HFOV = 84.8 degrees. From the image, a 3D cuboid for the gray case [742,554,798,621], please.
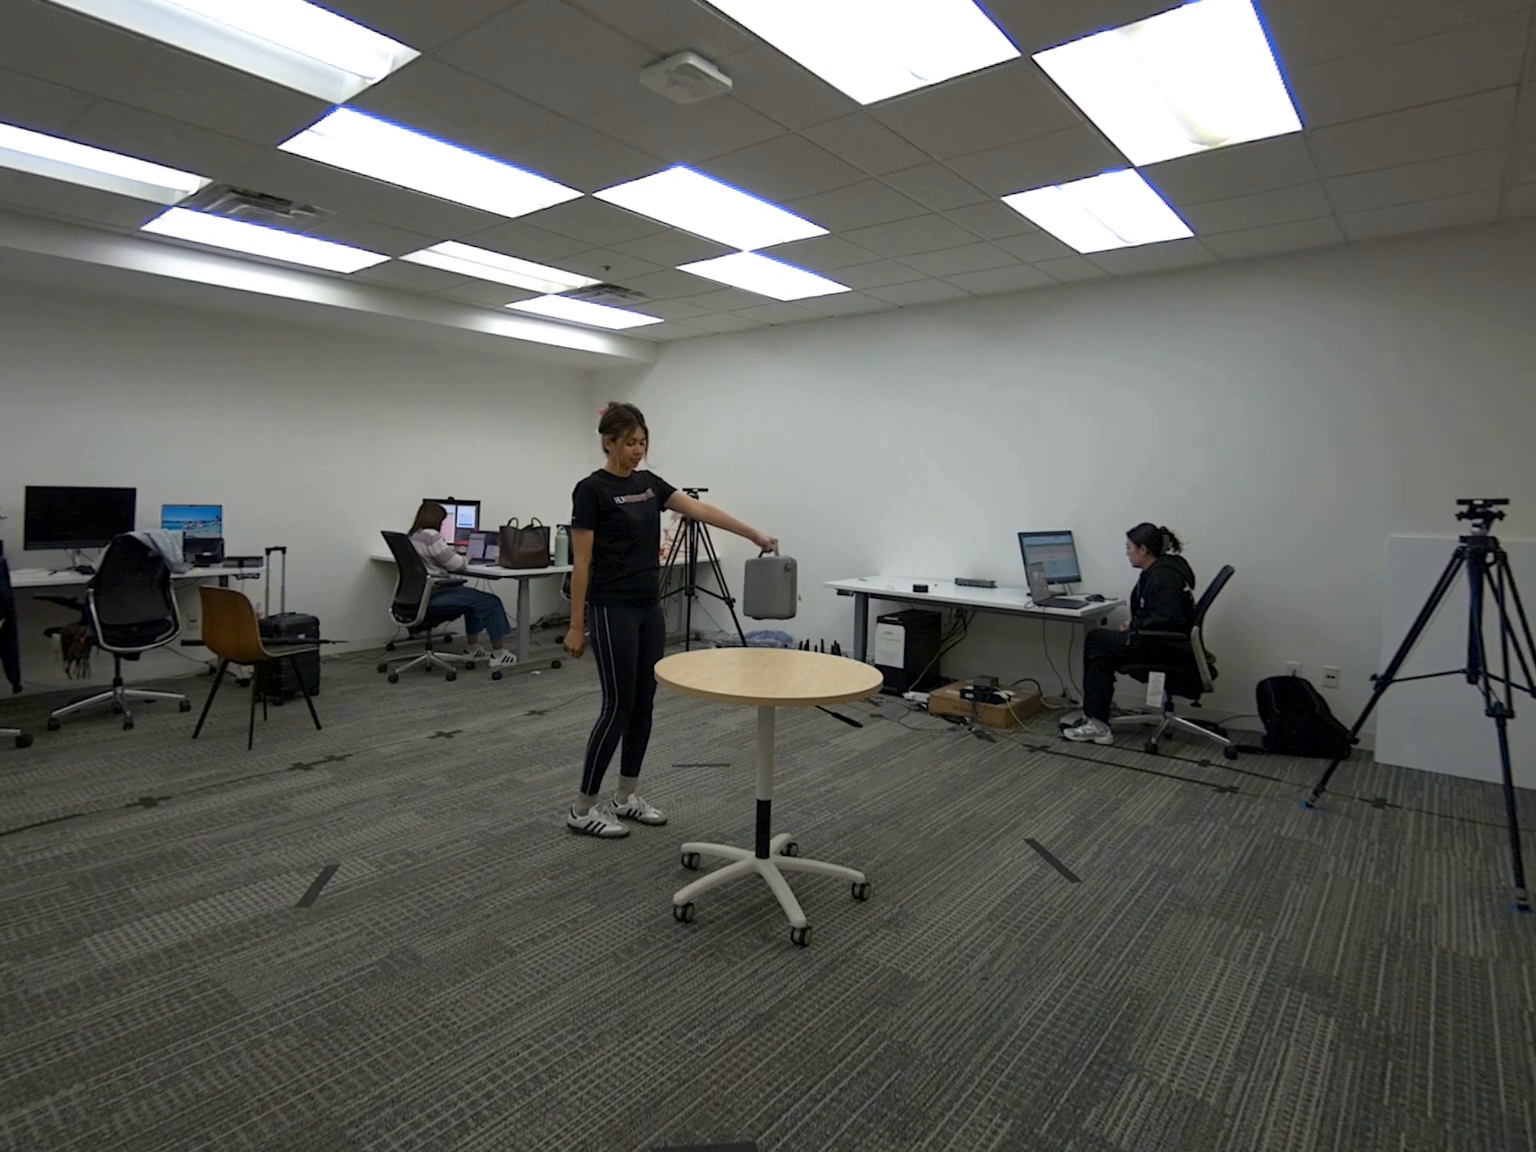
[{"bbox_3d":[0.001,0.042,3.504,0.101,0.262,0.264,5,-6,-37],"label":"gray case"}]
